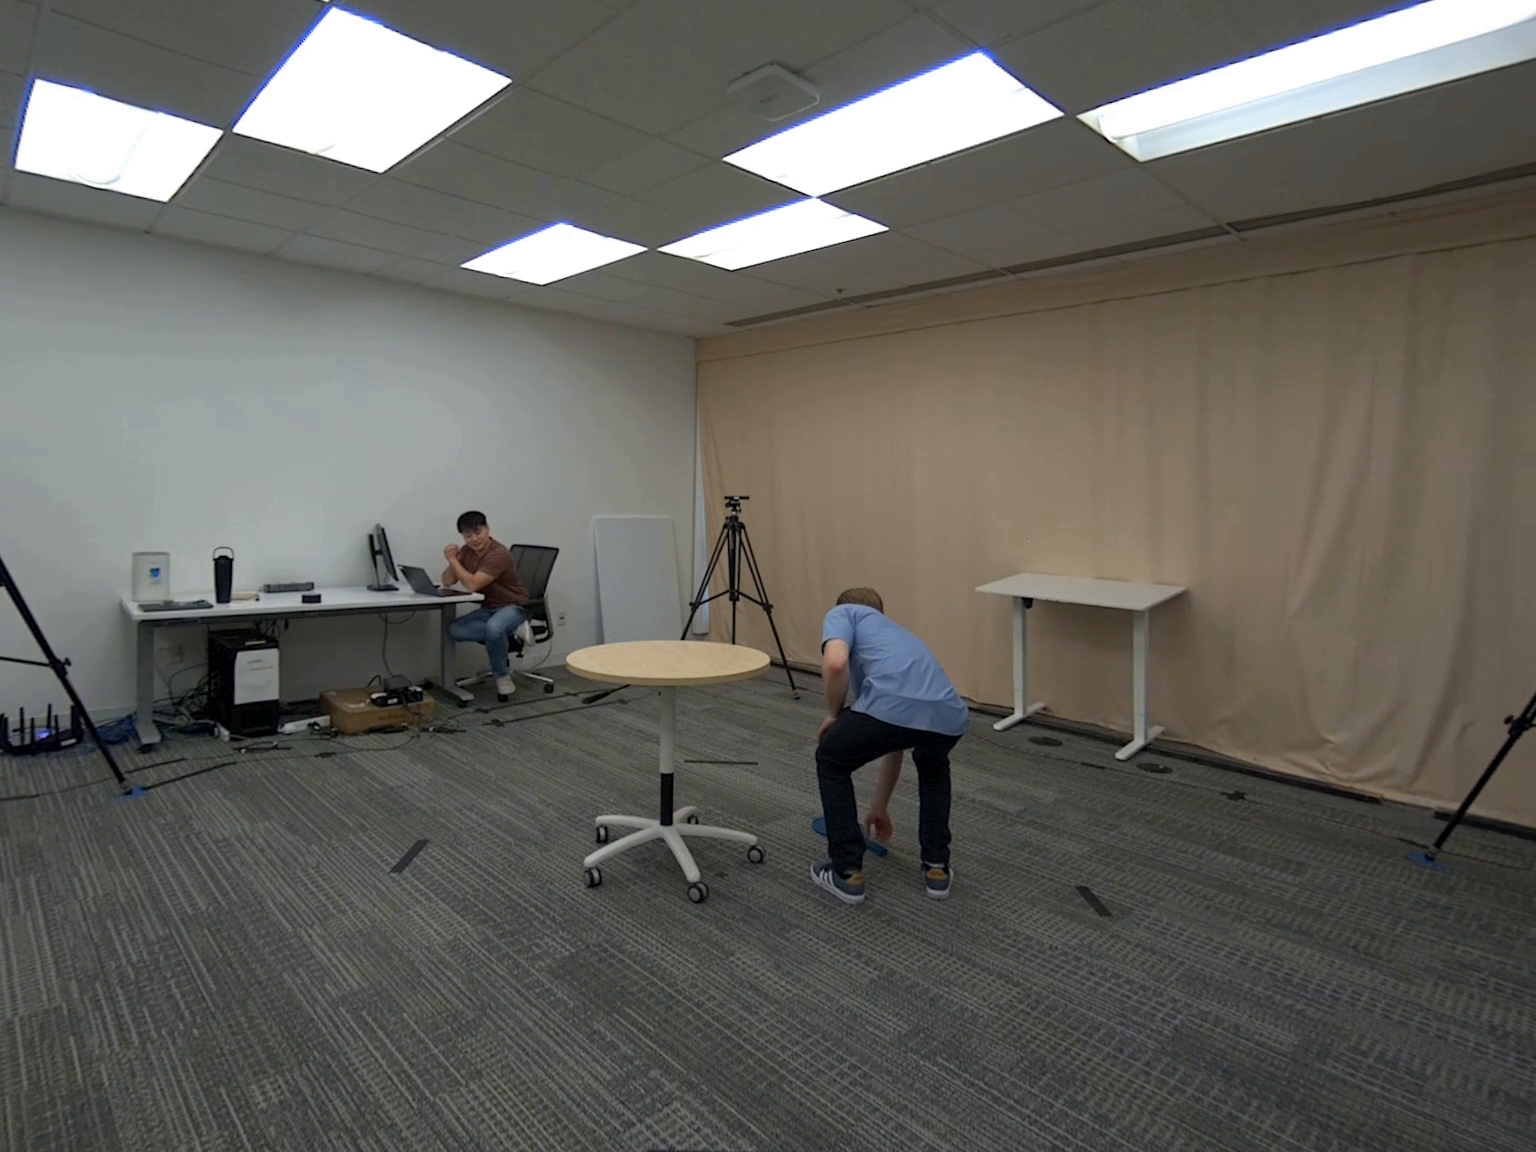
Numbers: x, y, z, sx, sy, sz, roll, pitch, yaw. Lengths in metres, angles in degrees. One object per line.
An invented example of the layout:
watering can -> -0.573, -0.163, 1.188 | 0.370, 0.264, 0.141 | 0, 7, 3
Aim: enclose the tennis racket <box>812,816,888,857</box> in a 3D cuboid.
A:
tennis racket -> 0.334, 1.069, 3.493 | 0.209, 0.032, 0.443 | -1, 4, -32
